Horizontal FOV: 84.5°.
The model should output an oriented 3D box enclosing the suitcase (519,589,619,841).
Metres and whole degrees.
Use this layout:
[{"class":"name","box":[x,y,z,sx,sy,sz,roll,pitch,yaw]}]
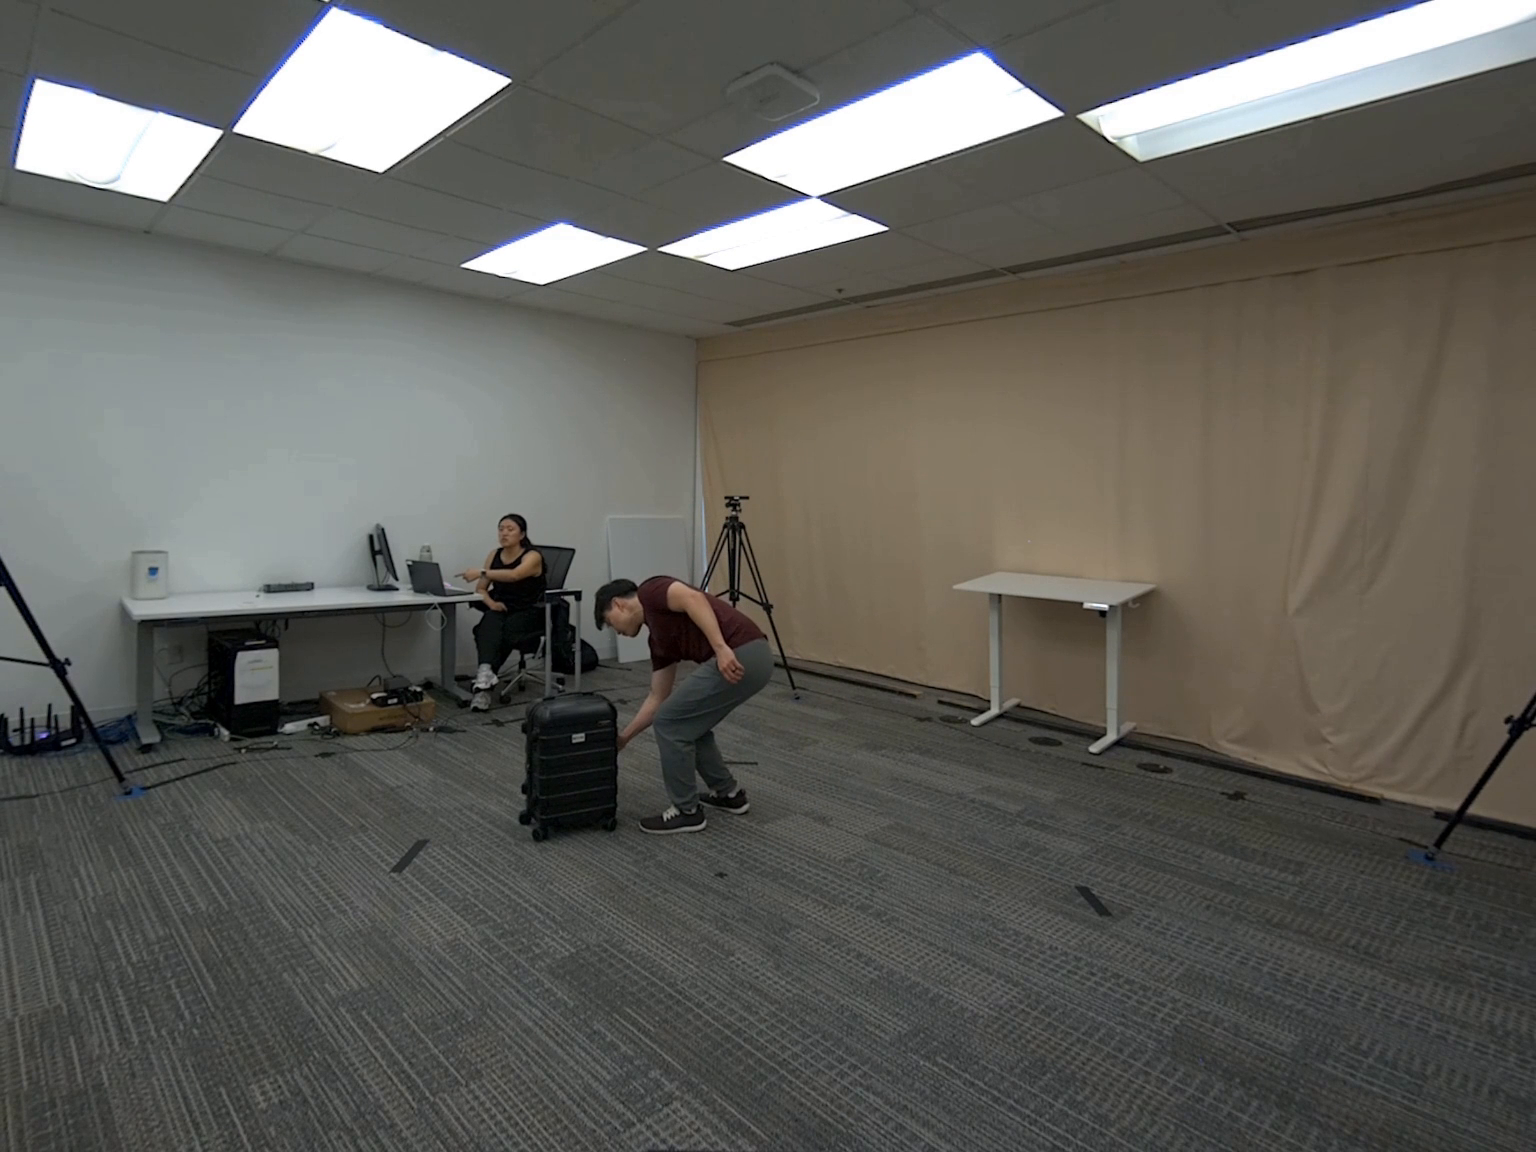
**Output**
[{"class":"suitcase","box":[-0.829,0.572,3.492,0.376,0.974,0.263,-1,7,-29]}]
